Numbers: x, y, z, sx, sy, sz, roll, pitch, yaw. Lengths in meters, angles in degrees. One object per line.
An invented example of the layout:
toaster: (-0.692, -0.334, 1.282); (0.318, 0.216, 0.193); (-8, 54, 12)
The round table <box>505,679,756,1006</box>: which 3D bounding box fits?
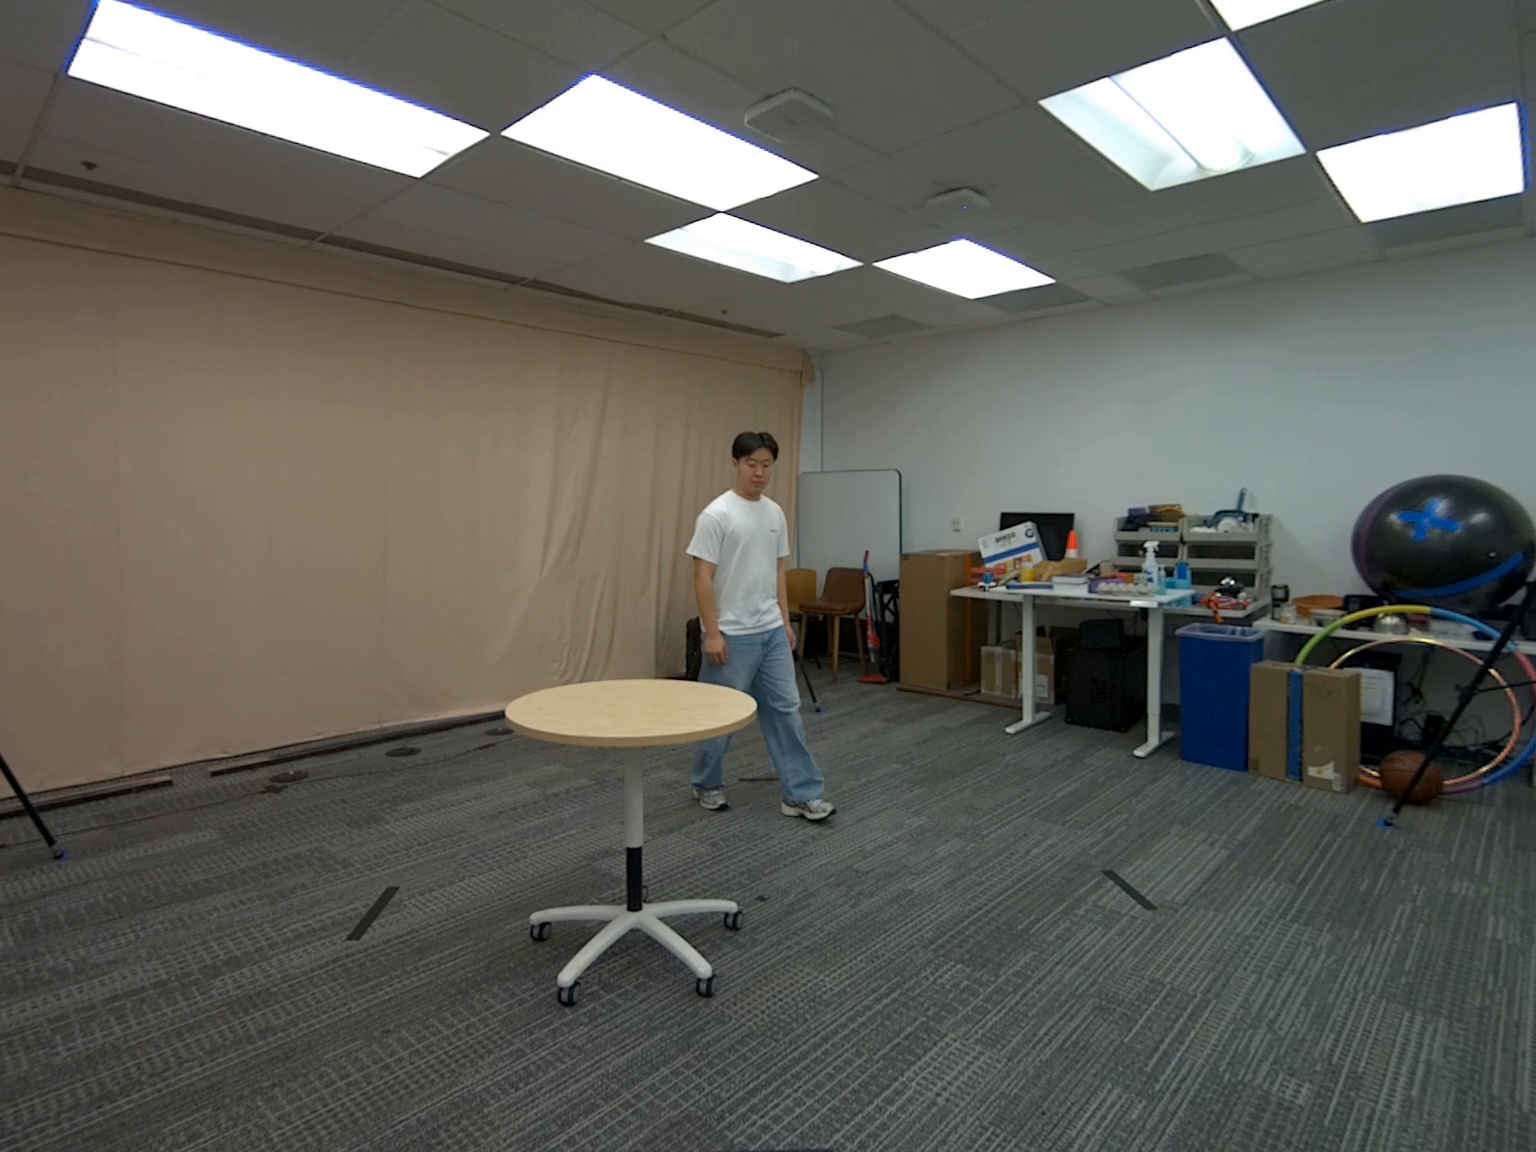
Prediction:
round table: (-0.411, 0.788, 2.607); (0.763, 0.792, 0.766); (0, 4, -2)
